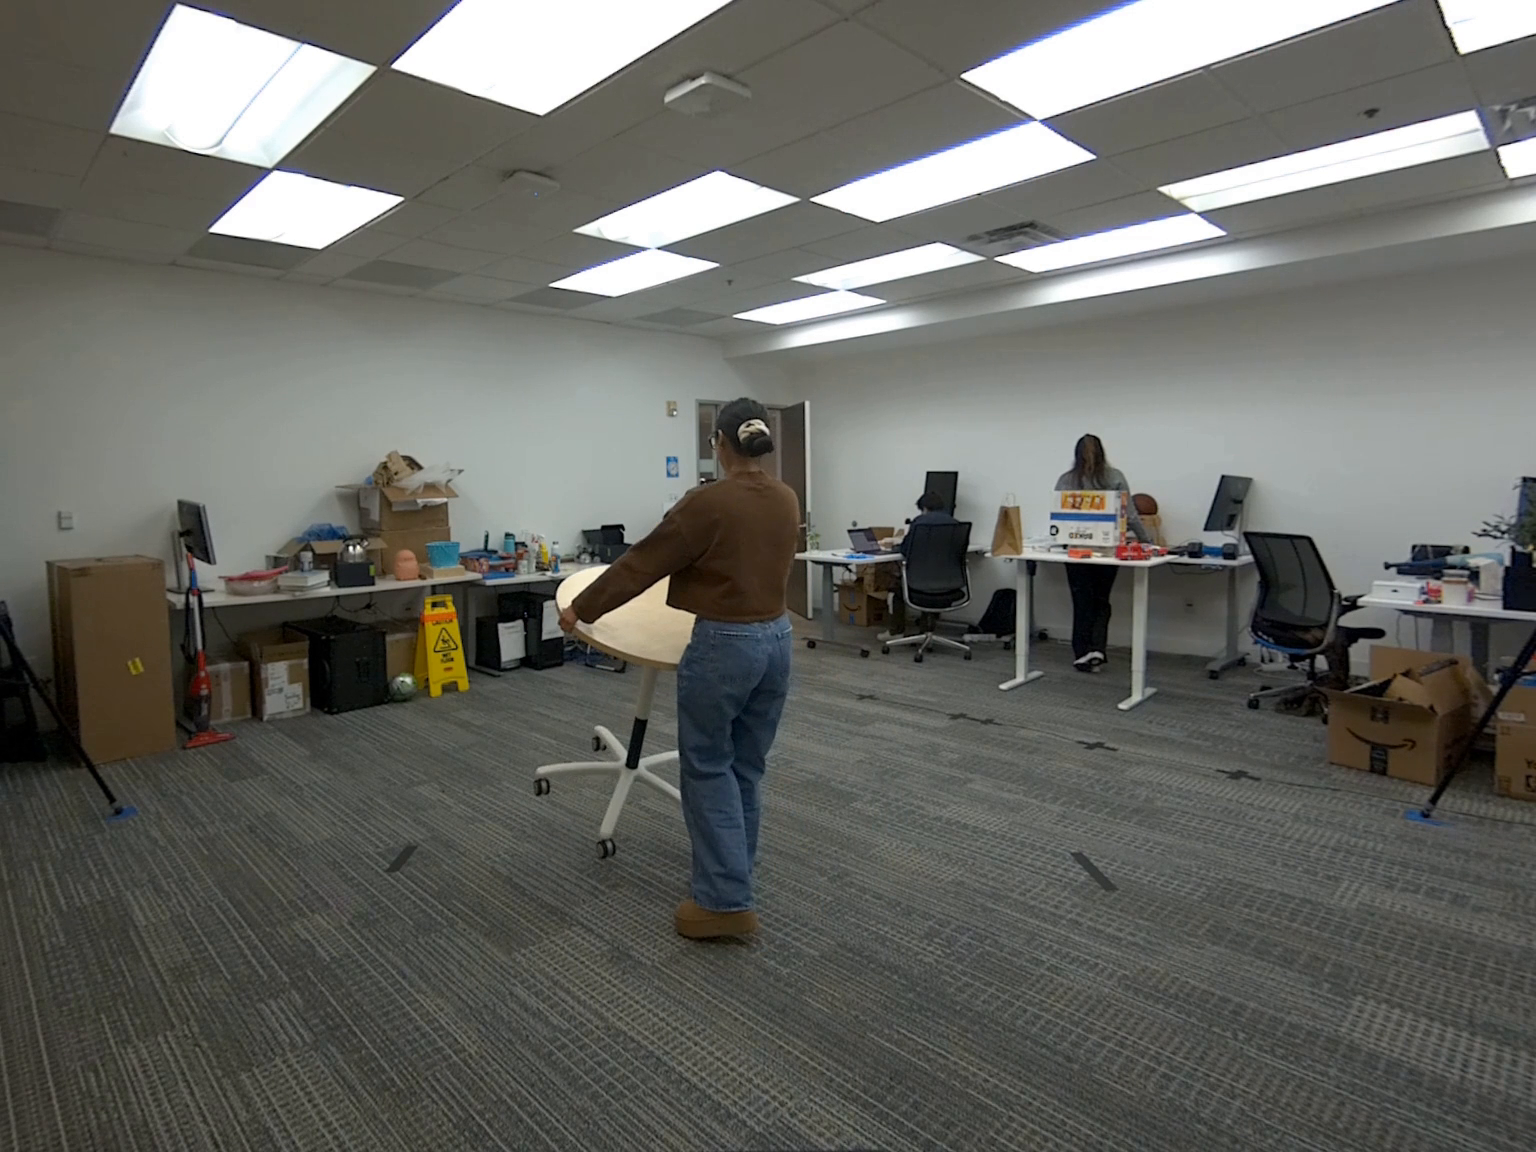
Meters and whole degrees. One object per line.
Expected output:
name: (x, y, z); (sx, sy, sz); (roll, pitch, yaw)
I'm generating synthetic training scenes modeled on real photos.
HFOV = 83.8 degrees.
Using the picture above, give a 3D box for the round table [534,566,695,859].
round table: (-0.473, 0.486, 3.163); (0.781, 0.777, 0.799); (12, 19, -6)
